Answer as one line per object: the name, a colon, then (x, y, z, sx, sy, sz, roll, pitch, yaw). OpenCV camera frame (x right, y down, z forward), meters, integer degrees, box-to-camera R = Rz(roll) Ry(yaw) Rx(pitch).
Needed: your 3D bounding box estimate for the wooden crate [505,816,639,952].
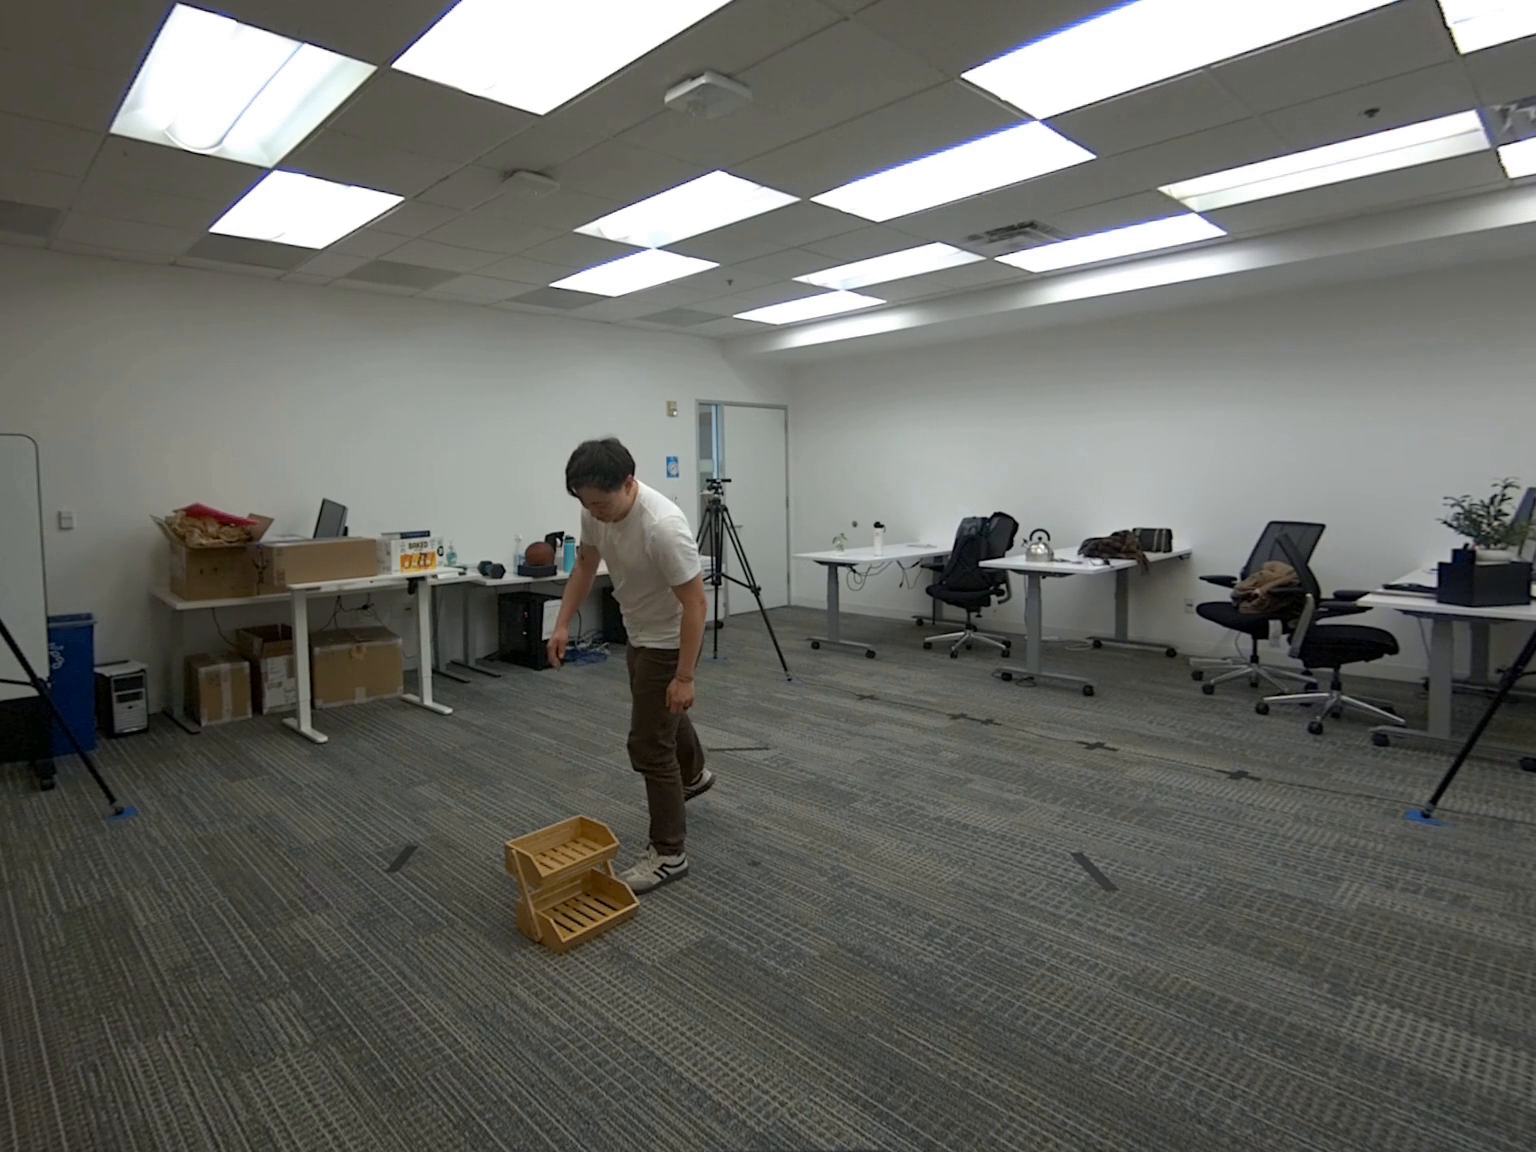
wooden crate: (-0.621, 0.967, 2.721, 0.311, 0.272, 0.316, 3, 7, 42)
